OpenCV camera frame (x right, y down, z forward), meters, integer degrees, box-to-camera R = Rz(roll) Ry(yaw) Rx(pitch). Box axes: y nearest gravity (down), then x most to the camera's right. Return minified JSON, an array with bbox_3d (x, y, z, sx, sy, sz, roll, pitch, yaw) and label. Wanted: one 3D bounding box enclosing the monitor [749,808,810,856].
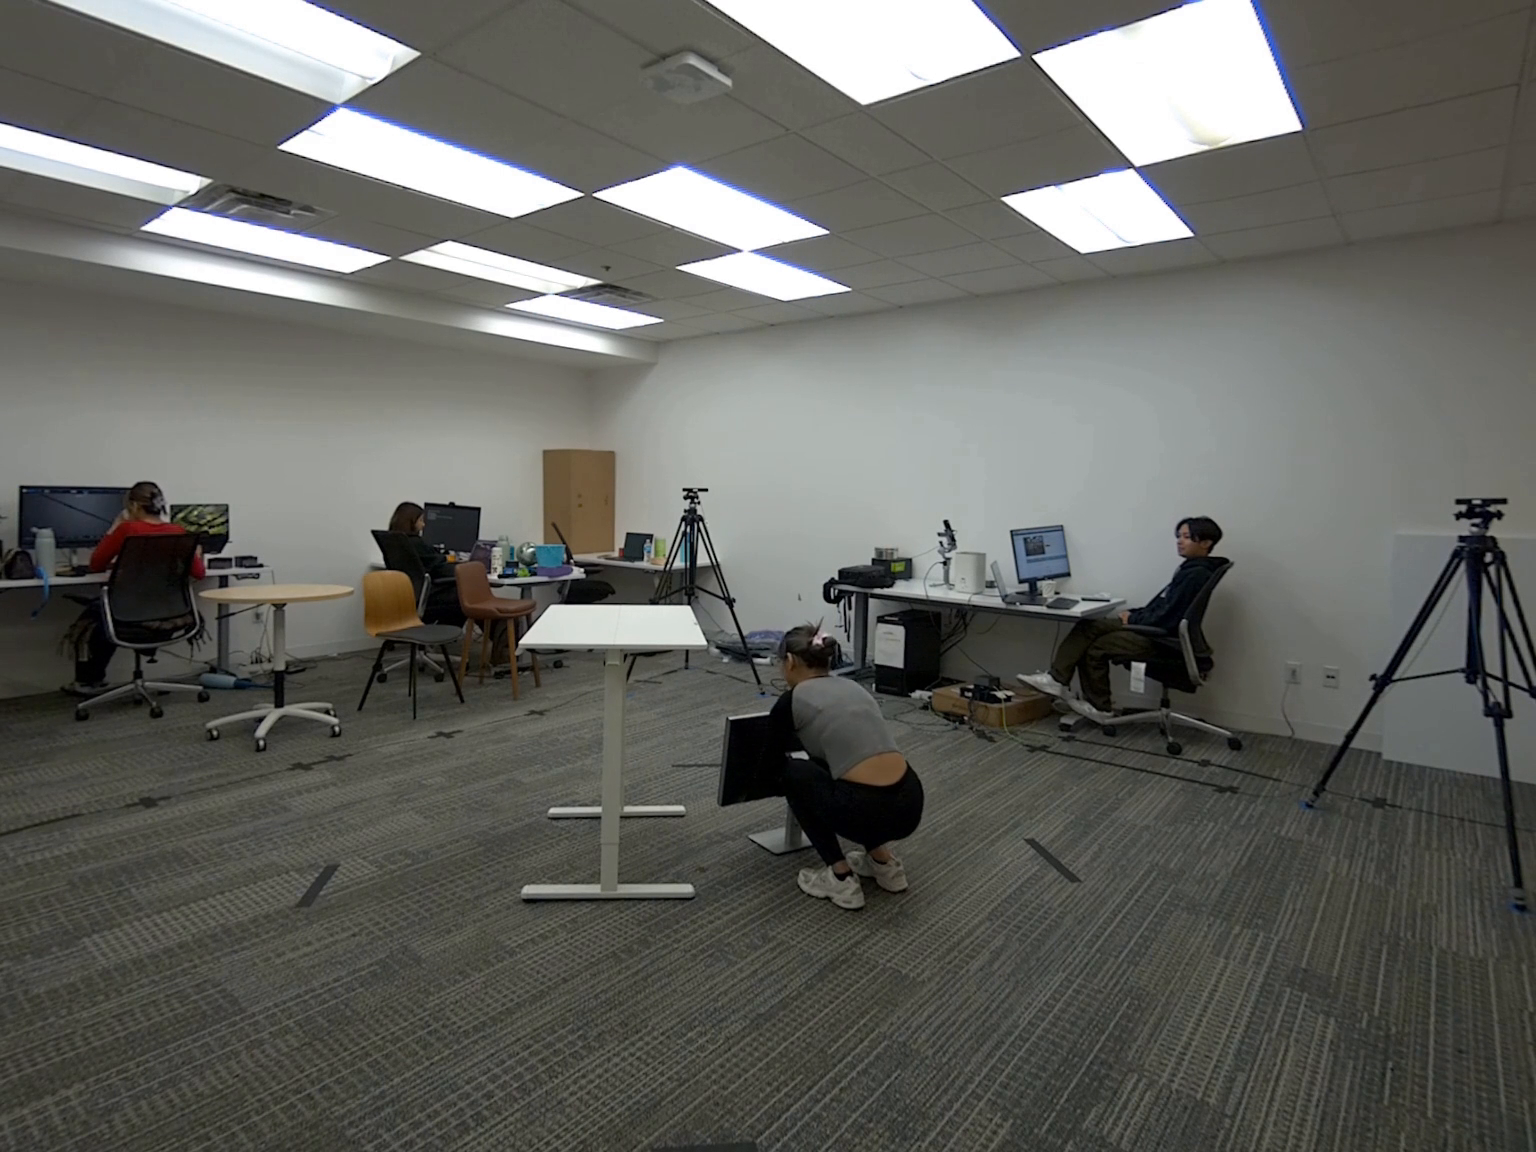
[{"bbox_3d":[0.077,0.787,3.368,0.523,0.522,0.193,-1,1,-34],"label":"monitor"}]
